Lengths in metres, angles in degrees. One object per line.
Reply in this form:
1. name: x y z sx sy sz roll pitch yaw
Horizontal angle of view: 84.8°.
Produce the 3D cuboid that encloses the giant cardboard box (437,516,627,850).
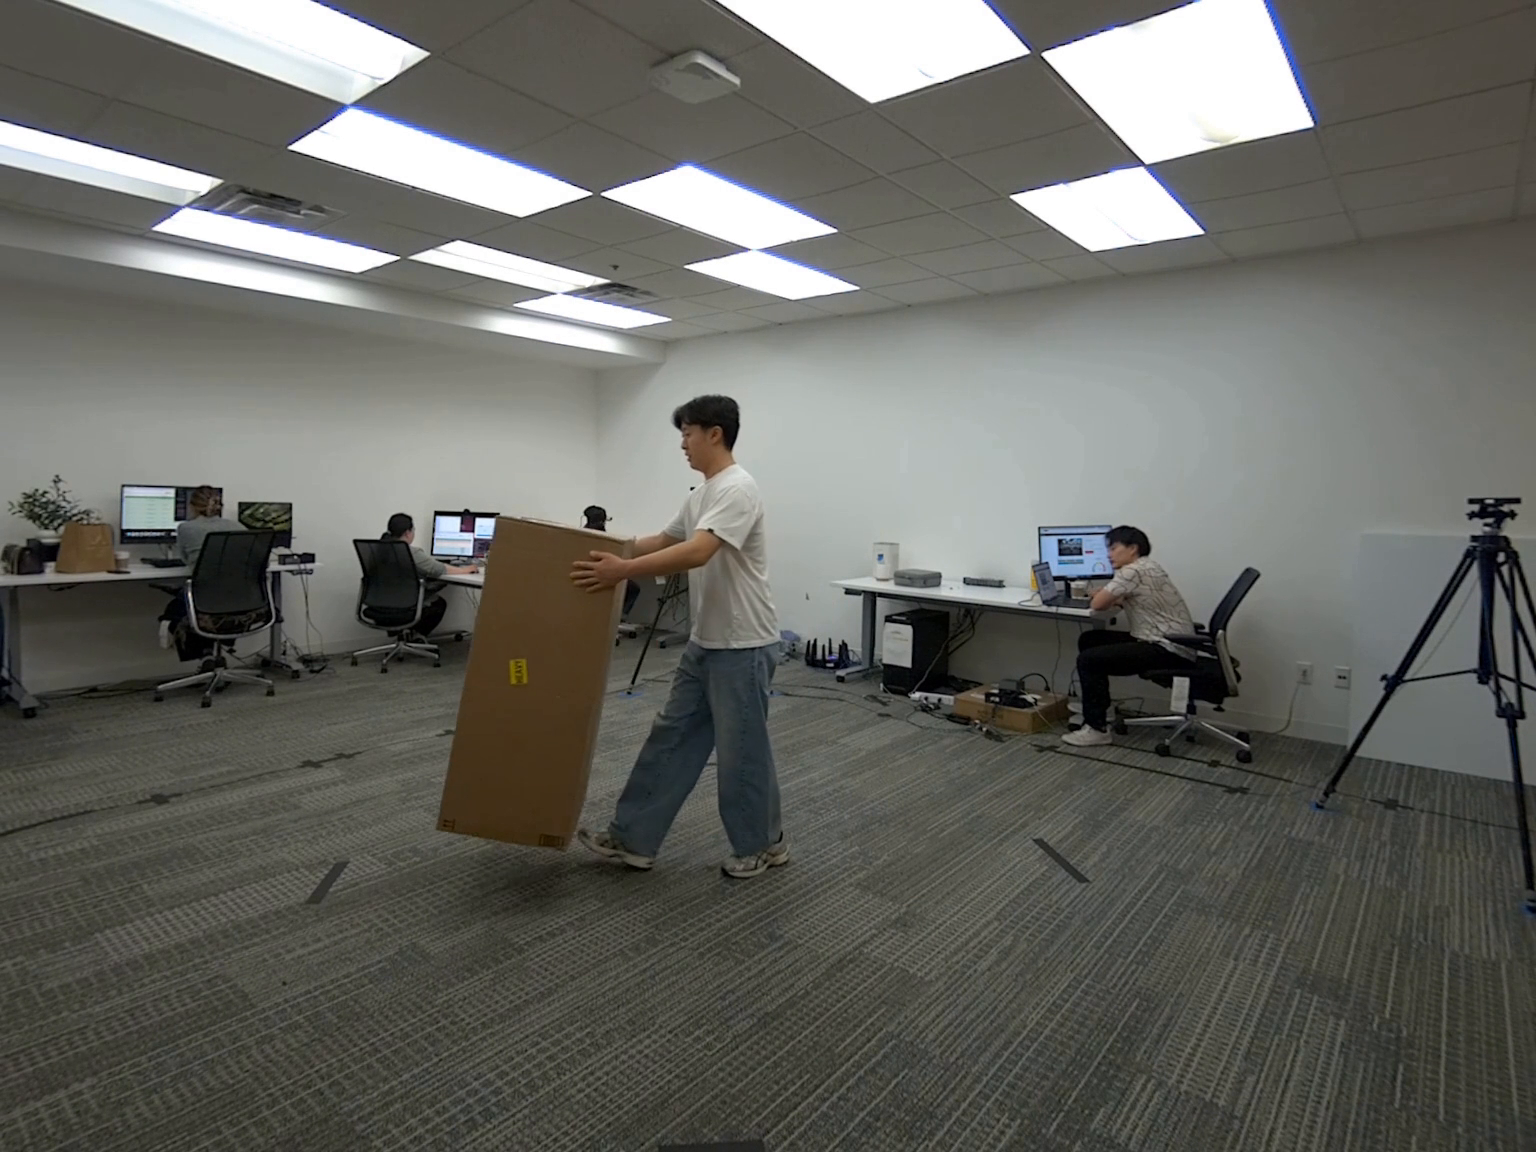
1. giant cardboard box: -0.796 0.339 2.997 0.424 1.026 0.581 12 0 -6
